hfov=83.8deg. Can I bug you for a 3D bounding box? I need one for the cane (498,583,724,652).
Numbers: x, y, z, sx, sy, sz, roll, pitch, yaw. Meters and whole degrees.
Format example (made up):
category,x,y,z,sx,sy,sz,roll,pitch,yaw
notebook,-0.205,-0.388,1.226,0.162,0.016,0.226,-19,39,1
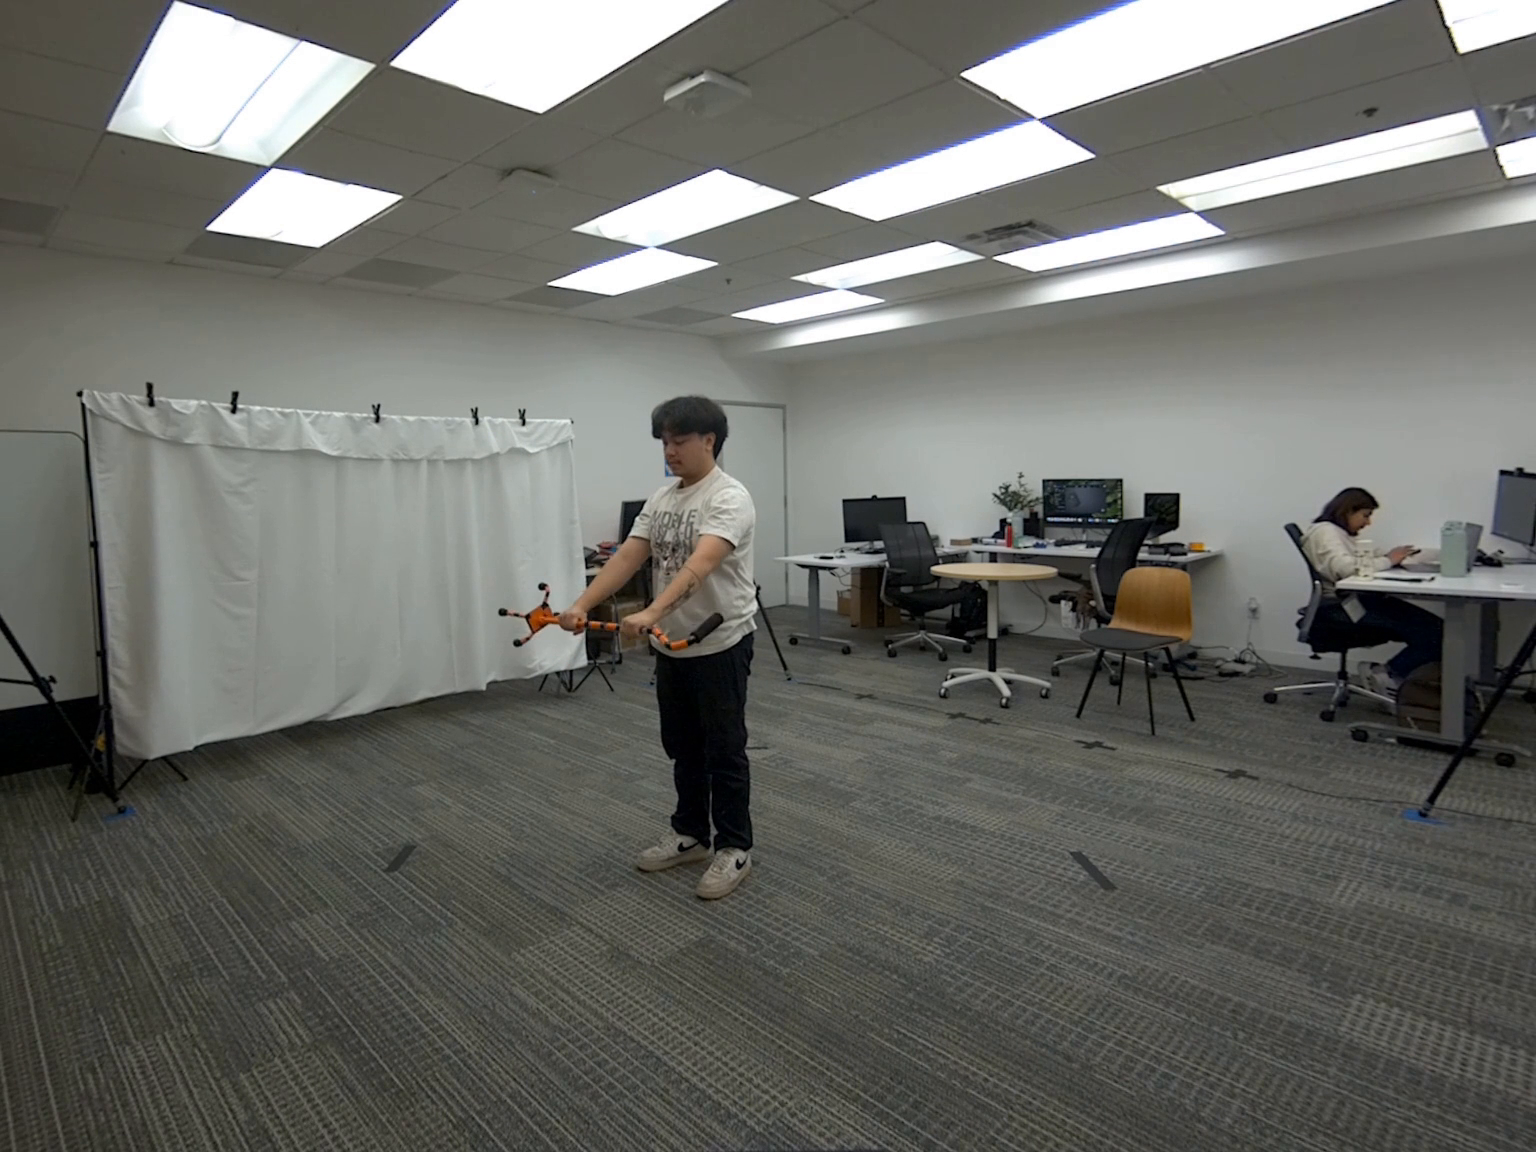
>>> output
category,x,y,z,sx,sy,sz,roll,pitch,yaw
cane,-0.502,0.145,2.664,0.935,0.148,0.205,2,30,46
